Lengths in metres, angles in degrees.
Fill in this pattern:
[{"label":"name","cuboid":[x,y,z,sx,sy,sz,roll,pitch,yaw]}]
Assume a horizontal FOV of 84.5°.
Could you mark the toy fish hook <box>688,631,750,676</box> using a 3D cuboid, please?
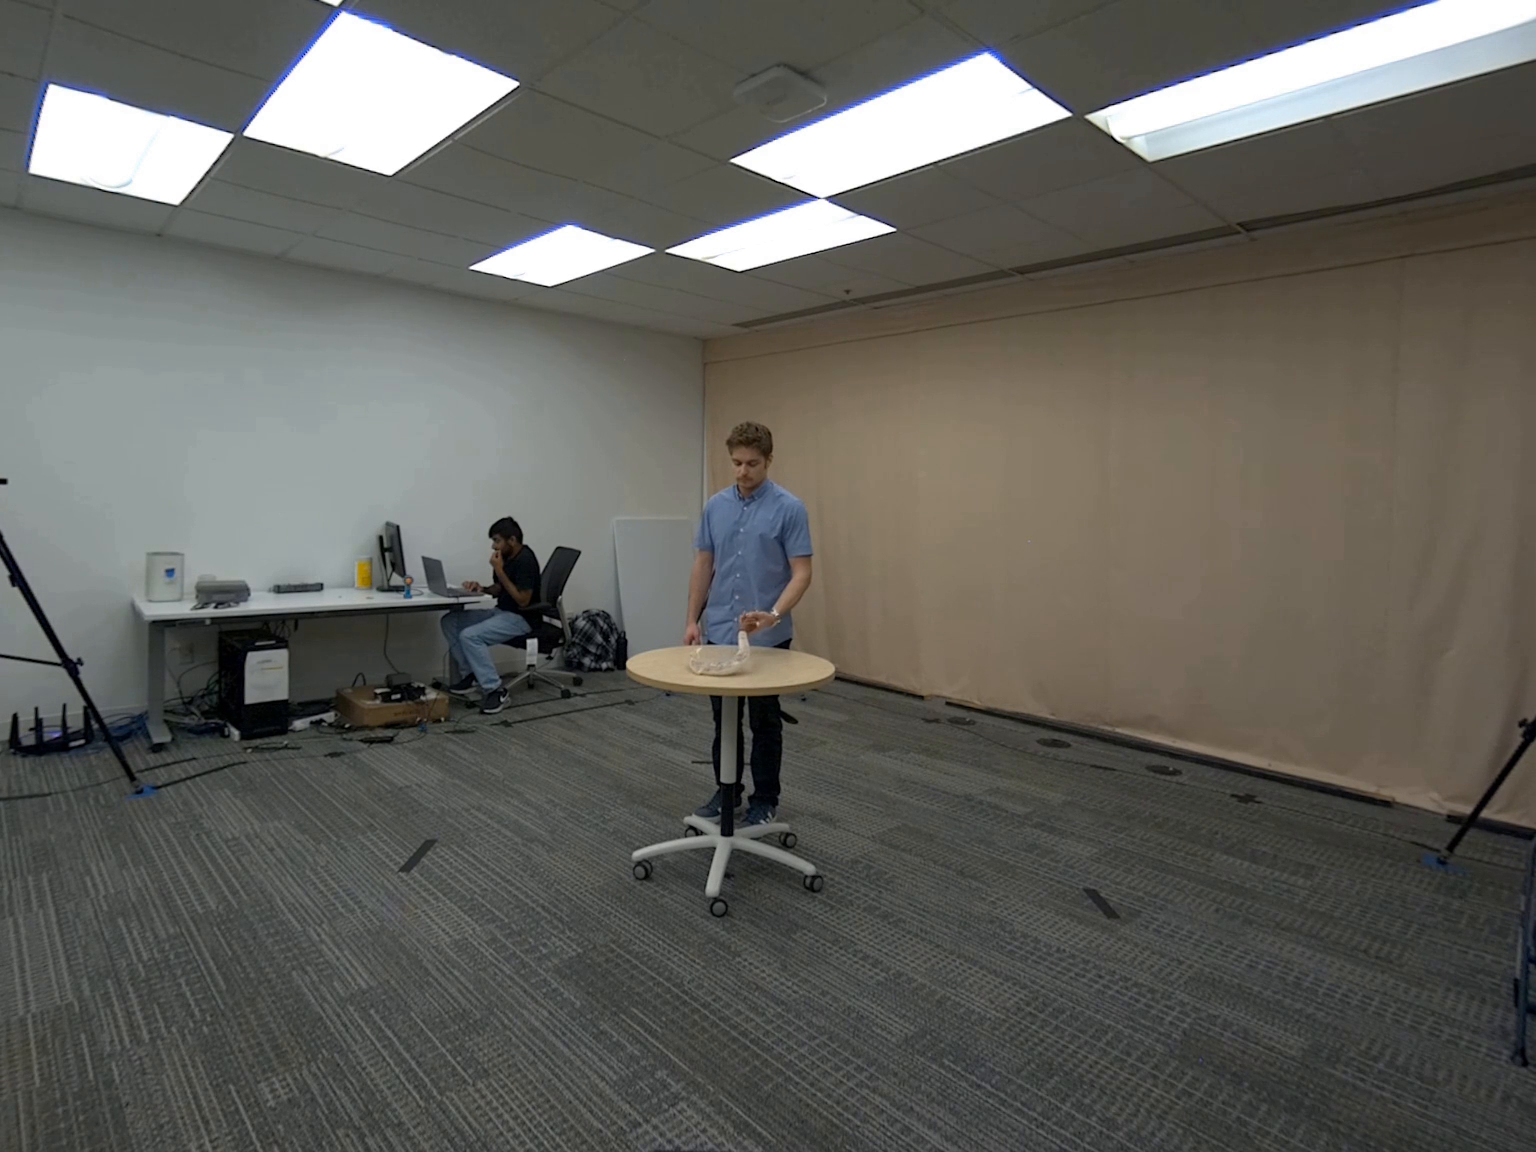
[{"label":"toy fish hook","cuboid":[-0.170,0.250,3.109,0.227,0.047,0.508,-2,19,14]}]
